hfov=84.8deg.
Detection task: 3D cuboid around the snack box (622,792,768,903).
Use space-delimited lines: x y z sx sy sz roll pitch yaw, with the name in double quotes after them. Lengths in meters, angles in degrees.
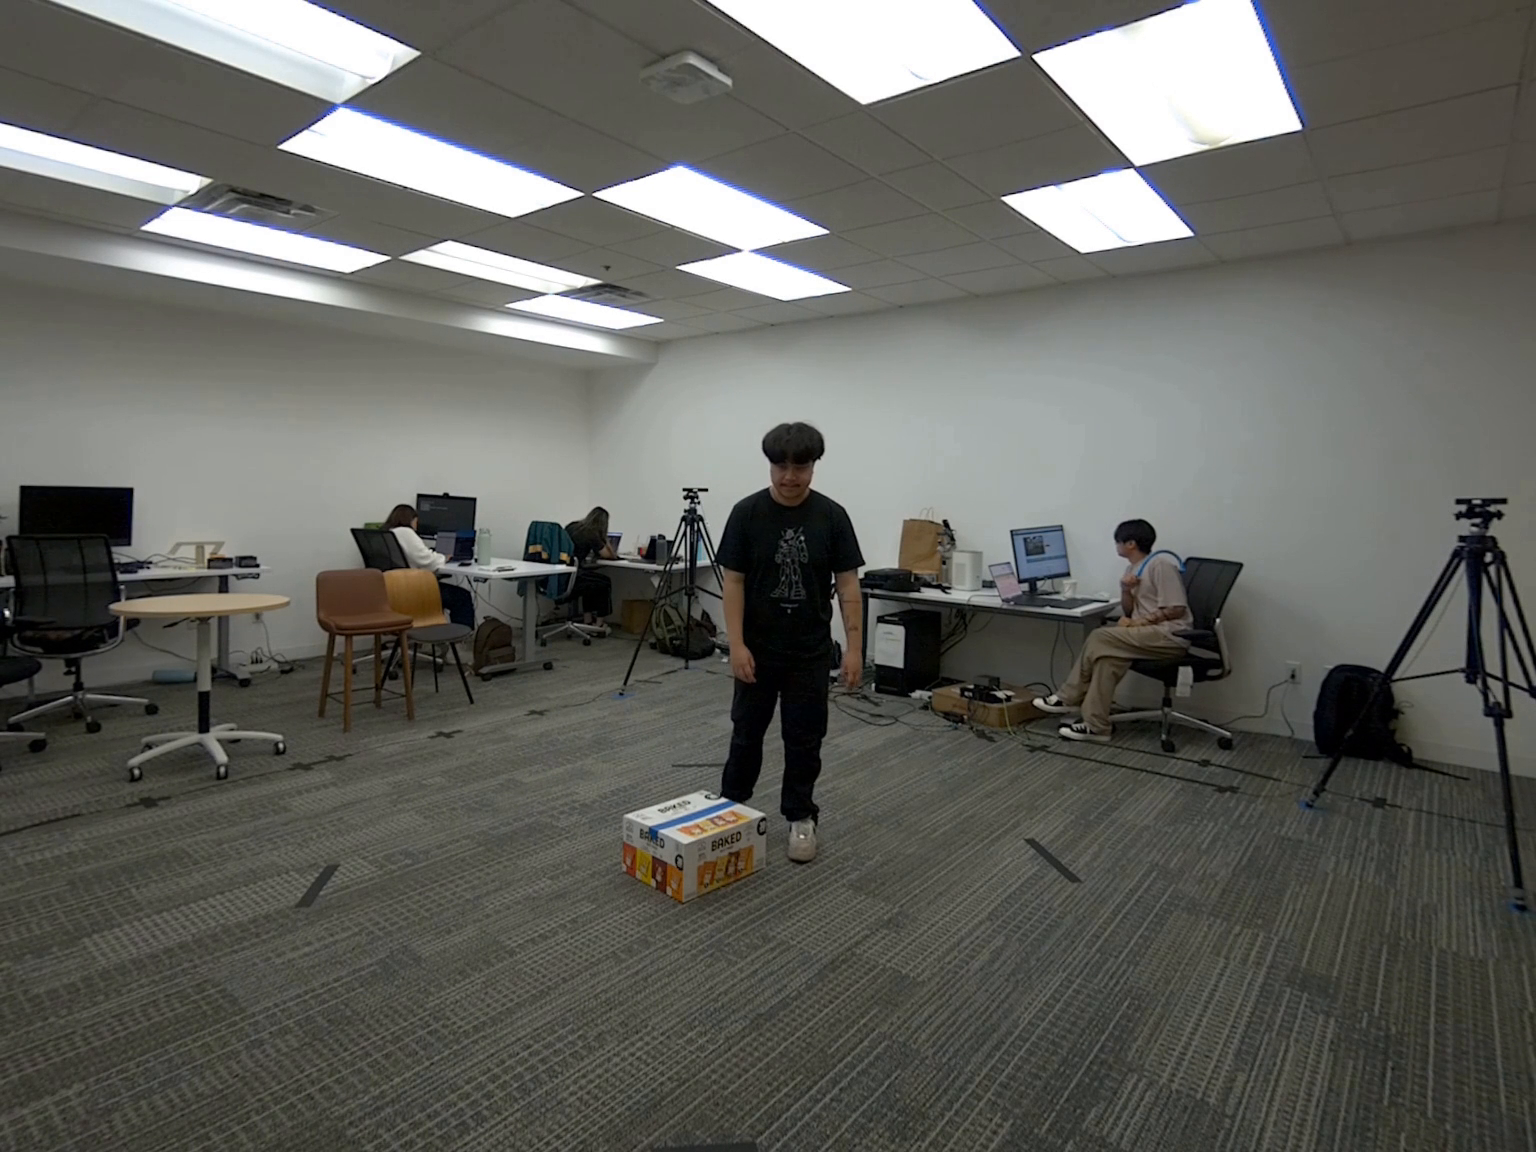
-0.278 0.969 3.096 0.352 0.205 0.393 6 7 44 "snack box"
